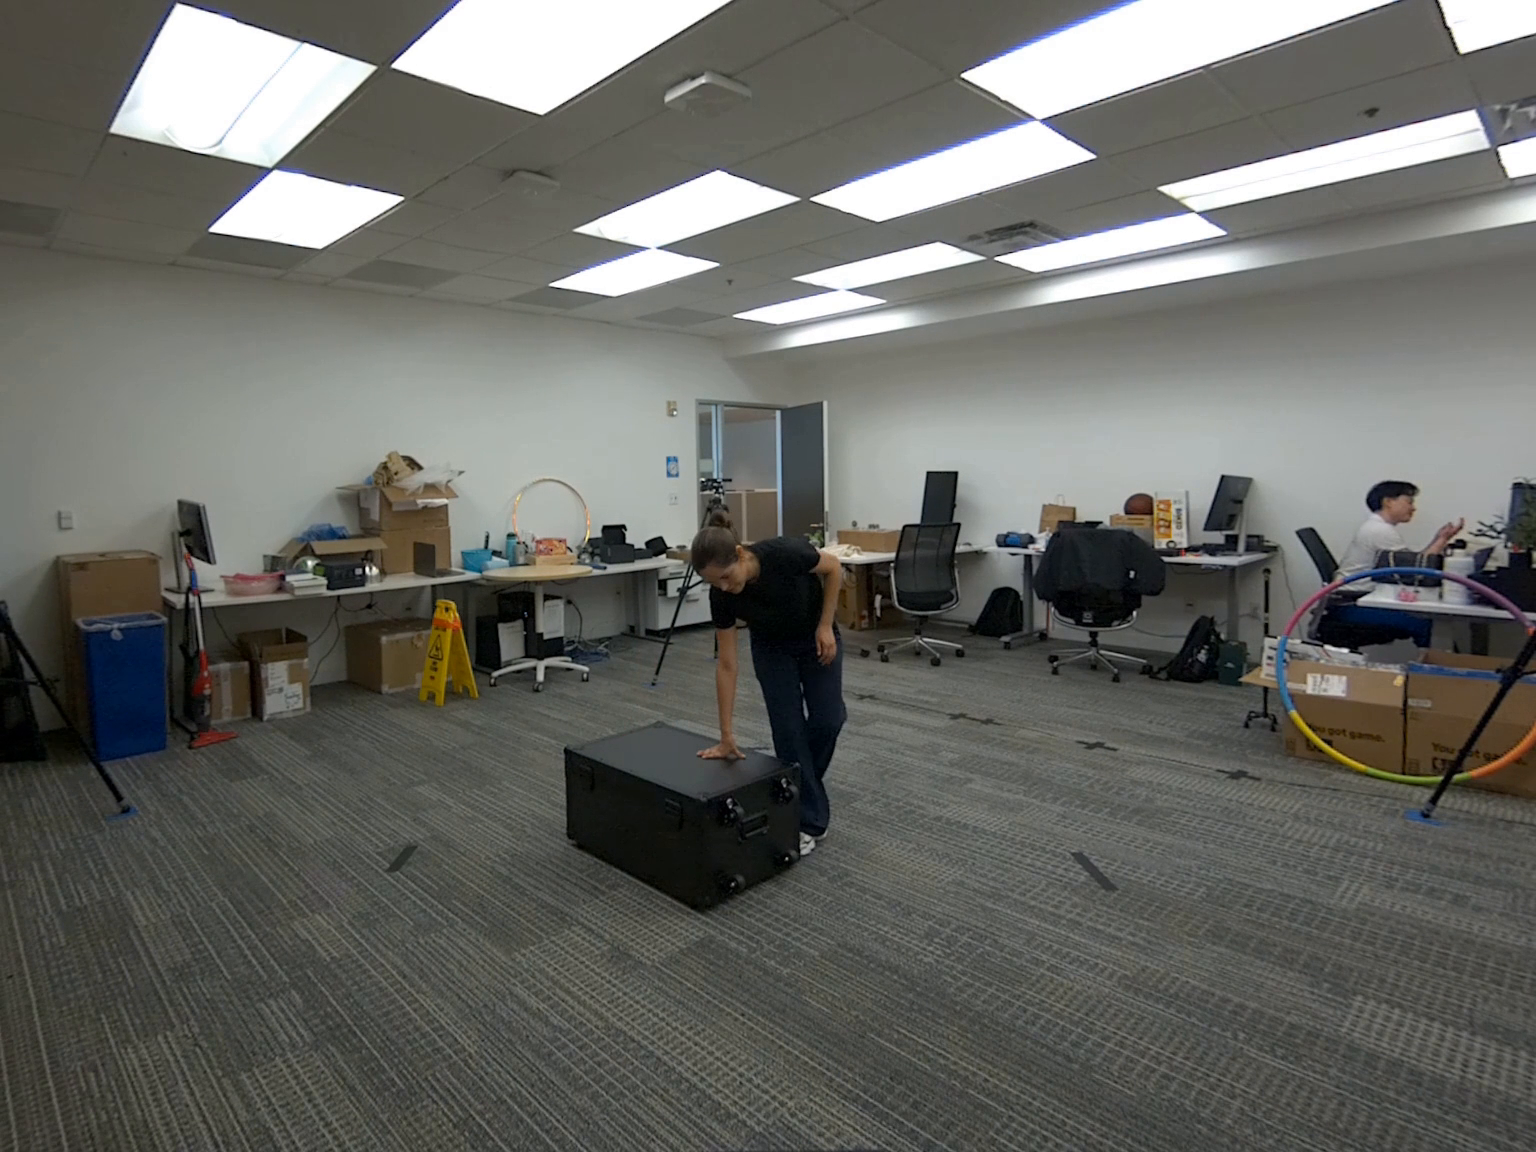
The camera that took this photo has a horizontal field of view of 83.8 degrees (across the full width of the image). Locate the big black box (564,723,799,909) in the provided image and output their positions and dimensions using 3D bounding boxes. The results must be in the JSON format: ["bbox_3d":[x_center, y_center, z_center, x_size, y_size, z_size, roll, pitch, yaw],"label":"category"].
[{"bbox_3d":[-0.309,0.835,3.165,0.889,0.394,0.508,6,9,44],"label":"big black box"}]
